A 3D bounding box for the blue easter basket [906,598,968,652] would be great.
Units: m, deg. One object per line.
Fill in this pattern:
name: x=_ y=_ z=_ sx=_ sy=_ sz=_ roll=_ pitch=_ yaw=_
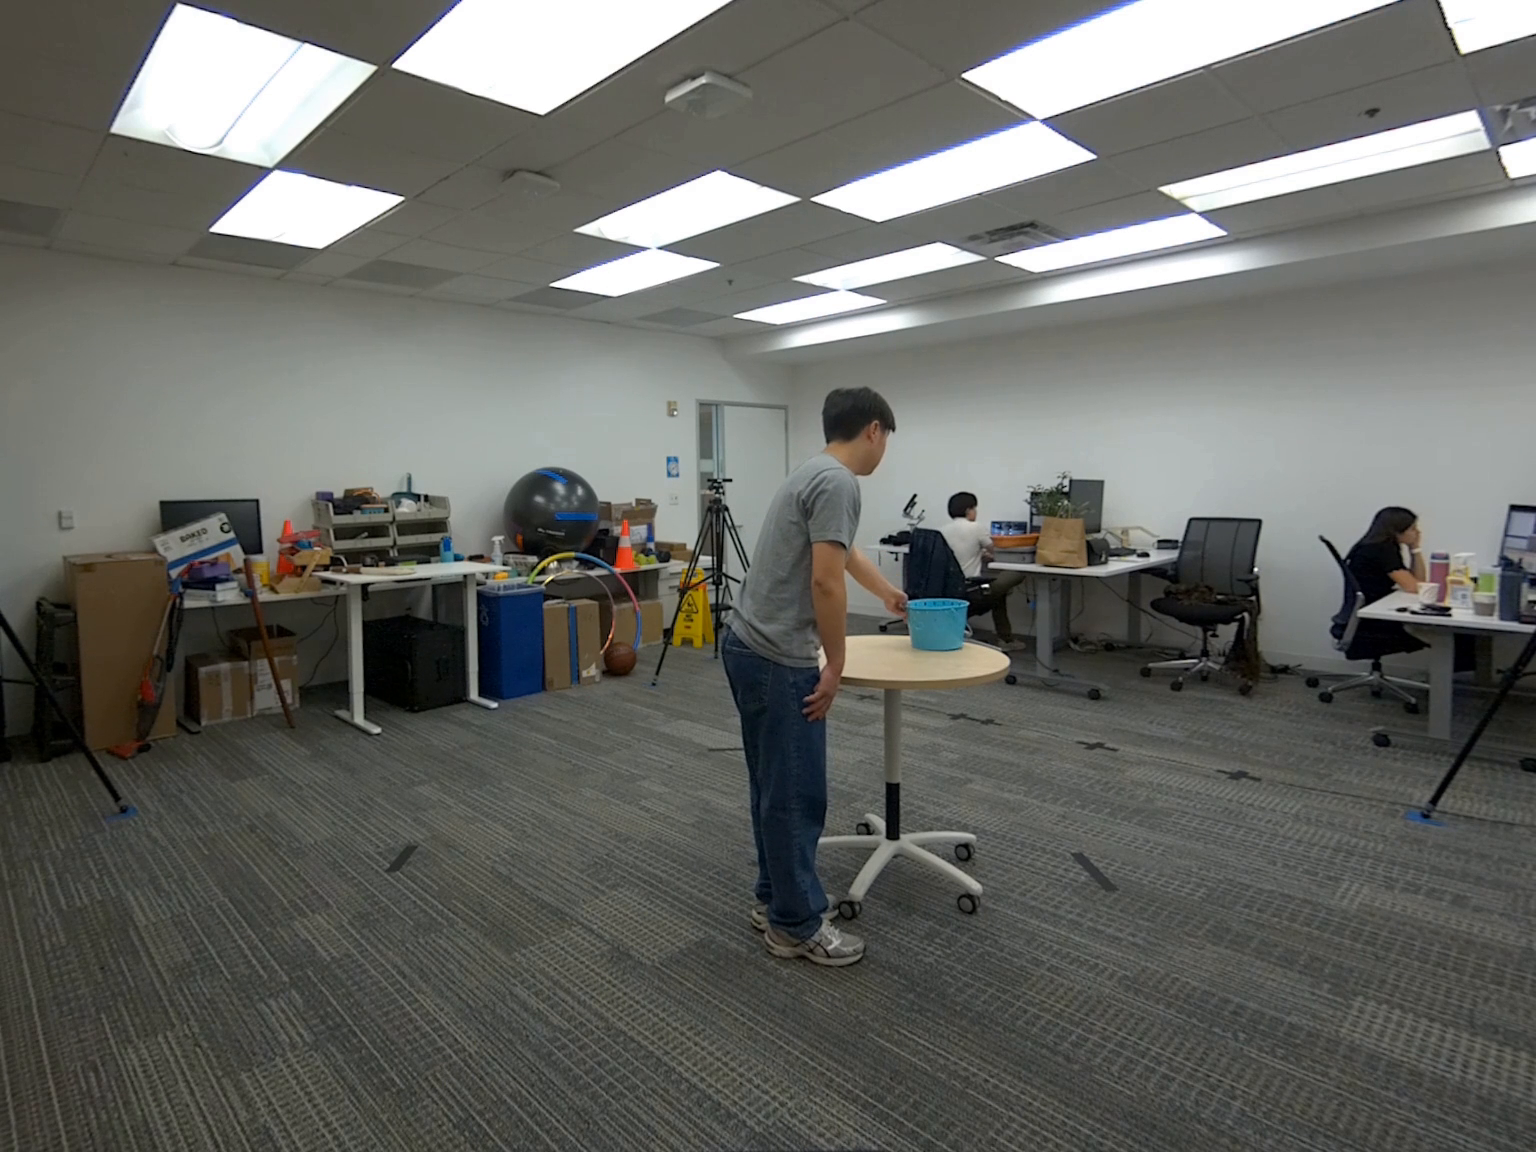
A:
blue easter basket: x=0.626 y=0.179 z=3.077 sx=0.243 sy=0.155 sz=0.245 roll=-2 pitch=5 yaw=-2
